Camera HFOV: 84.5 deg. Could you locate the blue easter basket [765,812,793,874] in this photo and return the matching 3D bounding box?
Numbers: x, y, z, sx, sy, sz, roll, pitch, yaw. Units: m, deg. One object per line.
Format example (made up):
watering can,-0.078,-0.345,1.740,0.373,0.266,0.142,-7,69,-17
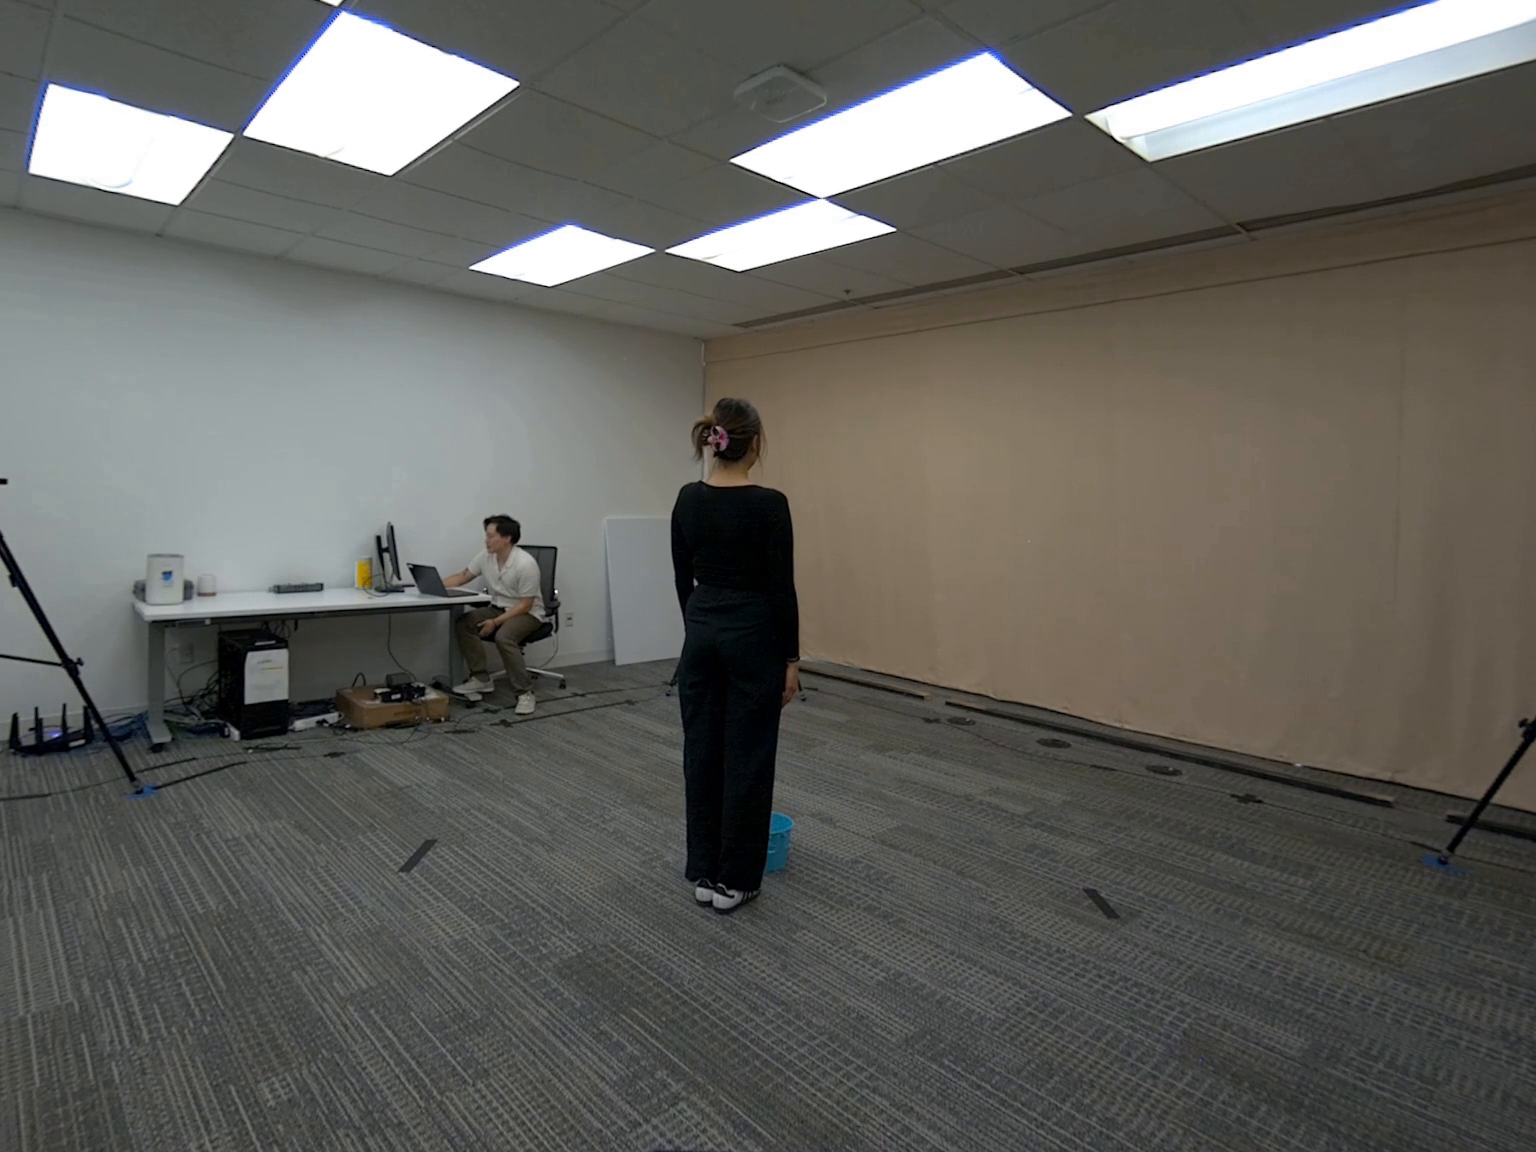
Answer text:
blue easter basket,-0.019,1.021,3.238,0.243,0.155,0.244,1,4,-1
